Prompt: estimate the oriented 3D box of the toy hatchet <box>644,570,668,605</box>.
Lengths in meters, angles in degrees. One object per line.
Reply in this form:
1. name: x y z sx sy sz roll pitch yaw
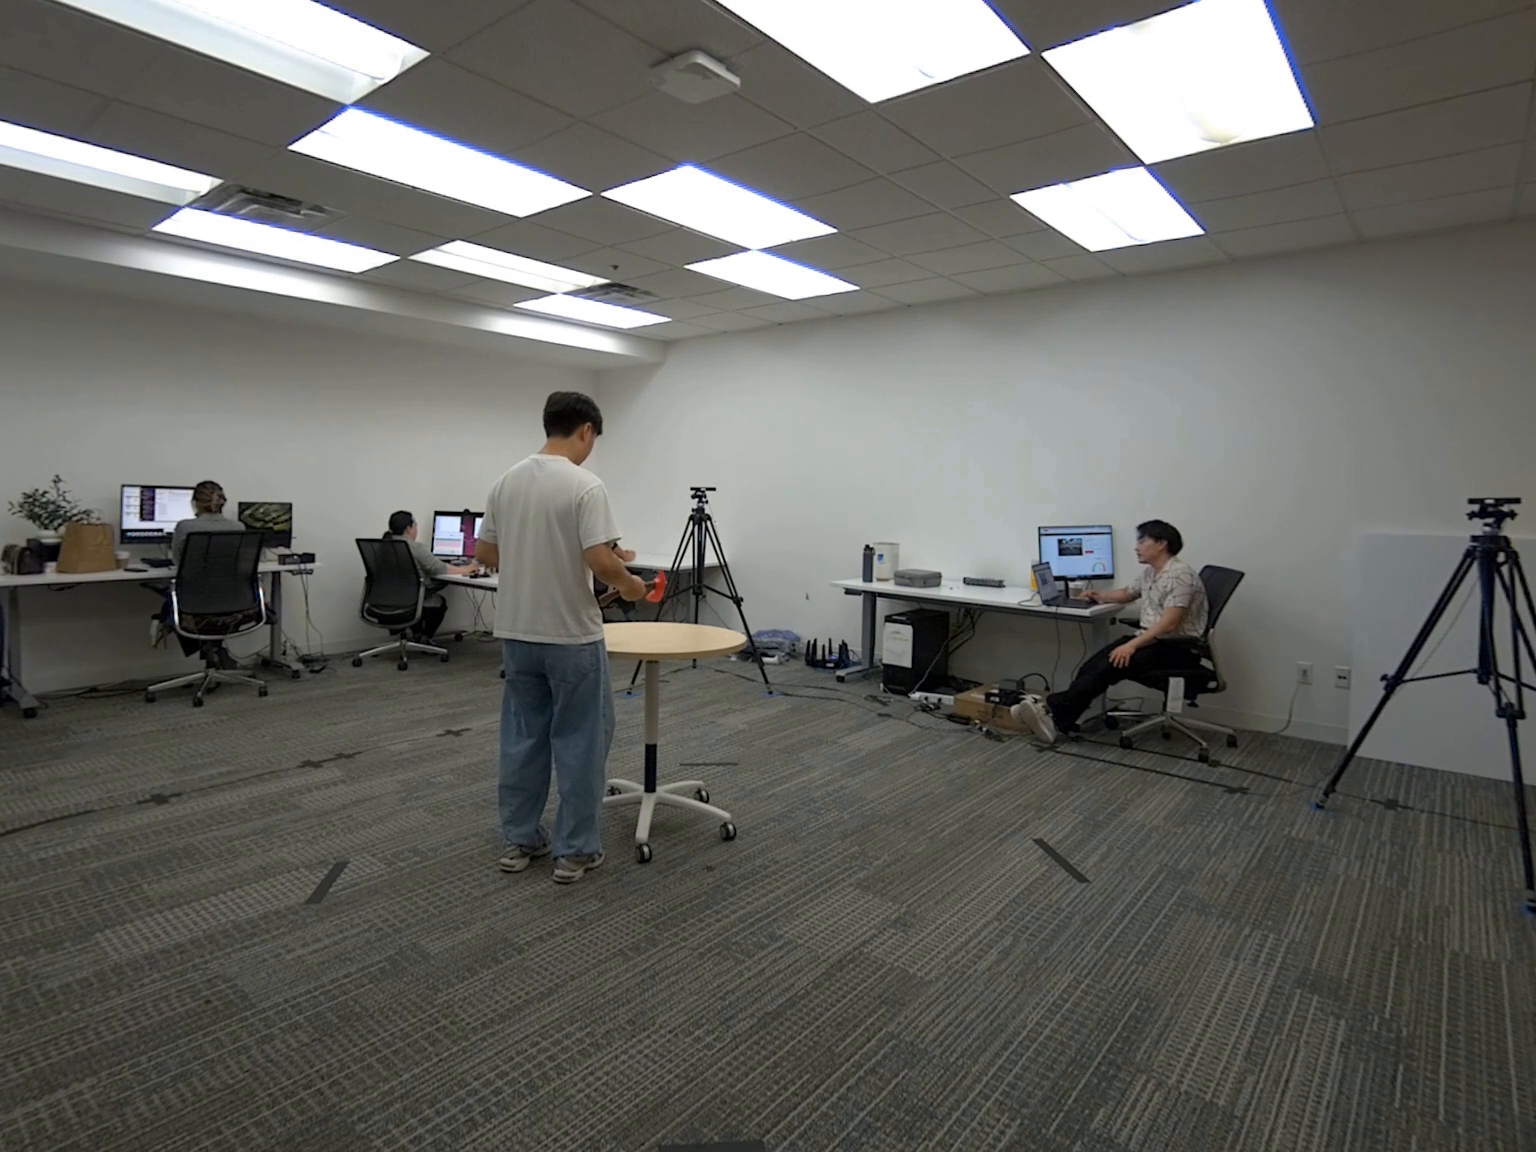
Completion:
1. toy hatchet: -0.522 0.070 3.202 0.267 0.127 0.031 -25 37 -20
